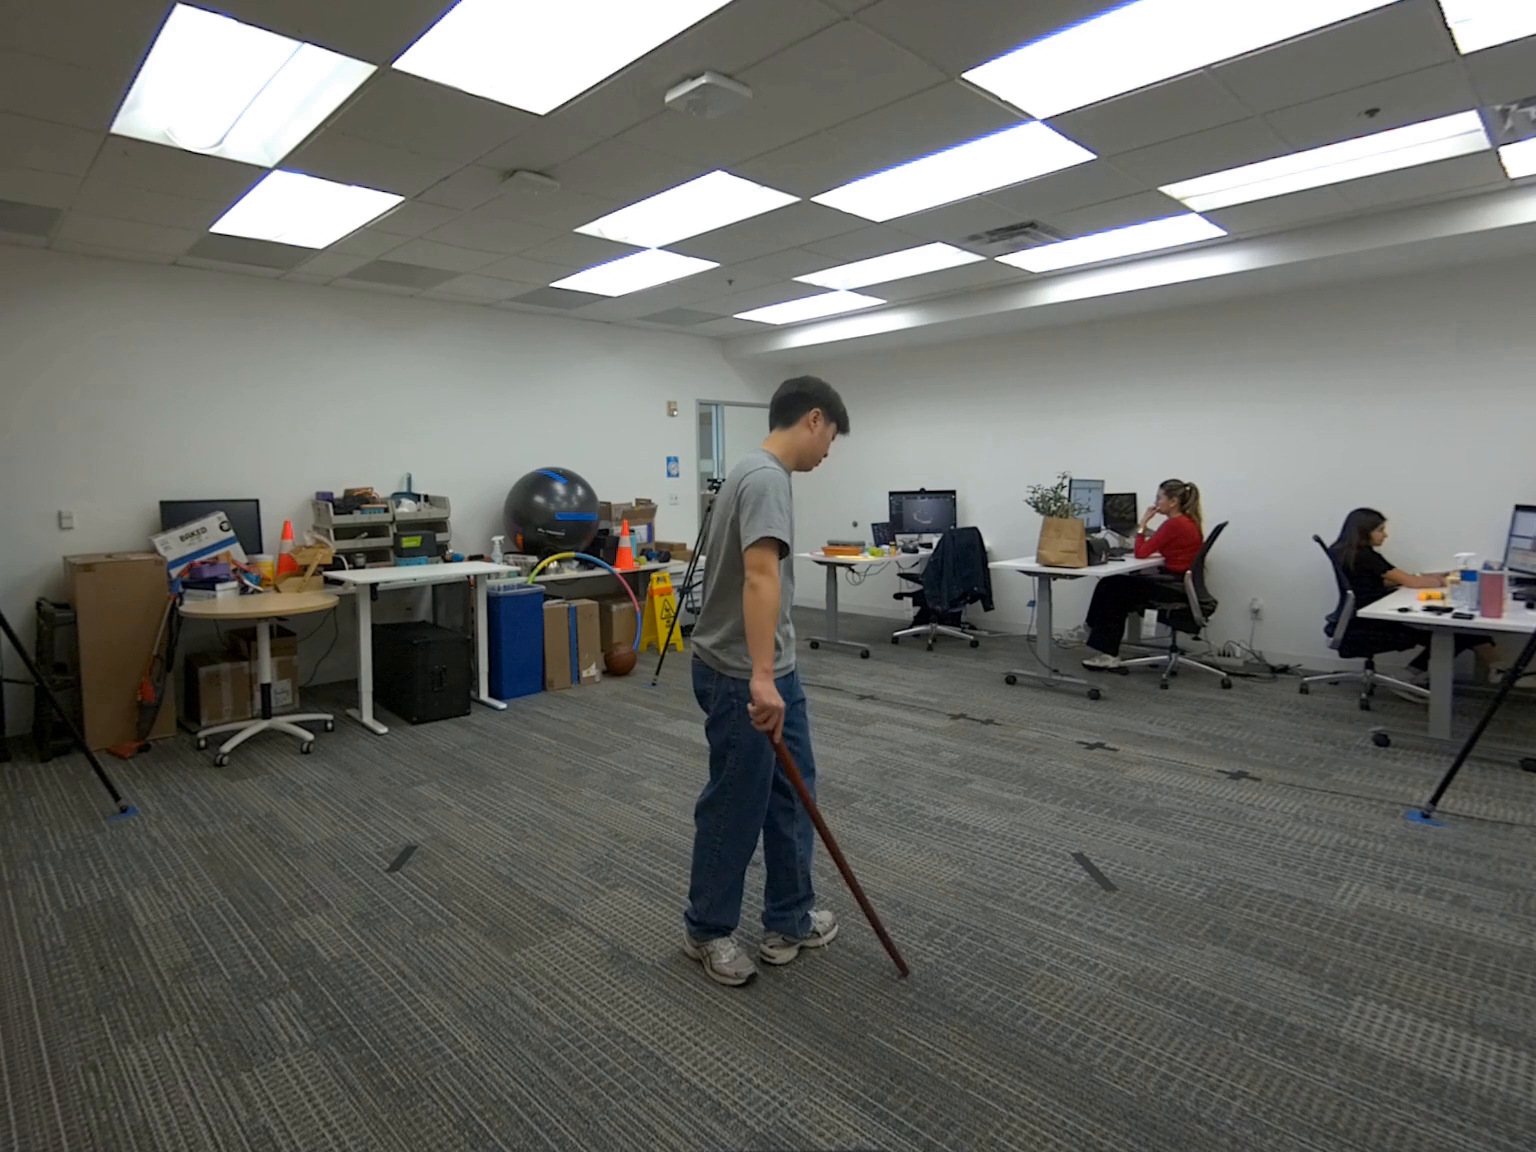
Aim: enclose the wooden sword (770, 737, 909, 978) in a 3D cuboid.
[{"bbox_3d":[0.184,0.711,2.213,0.024,0.997,0.052,-16,27,28],"label":"wooden sword"}]
